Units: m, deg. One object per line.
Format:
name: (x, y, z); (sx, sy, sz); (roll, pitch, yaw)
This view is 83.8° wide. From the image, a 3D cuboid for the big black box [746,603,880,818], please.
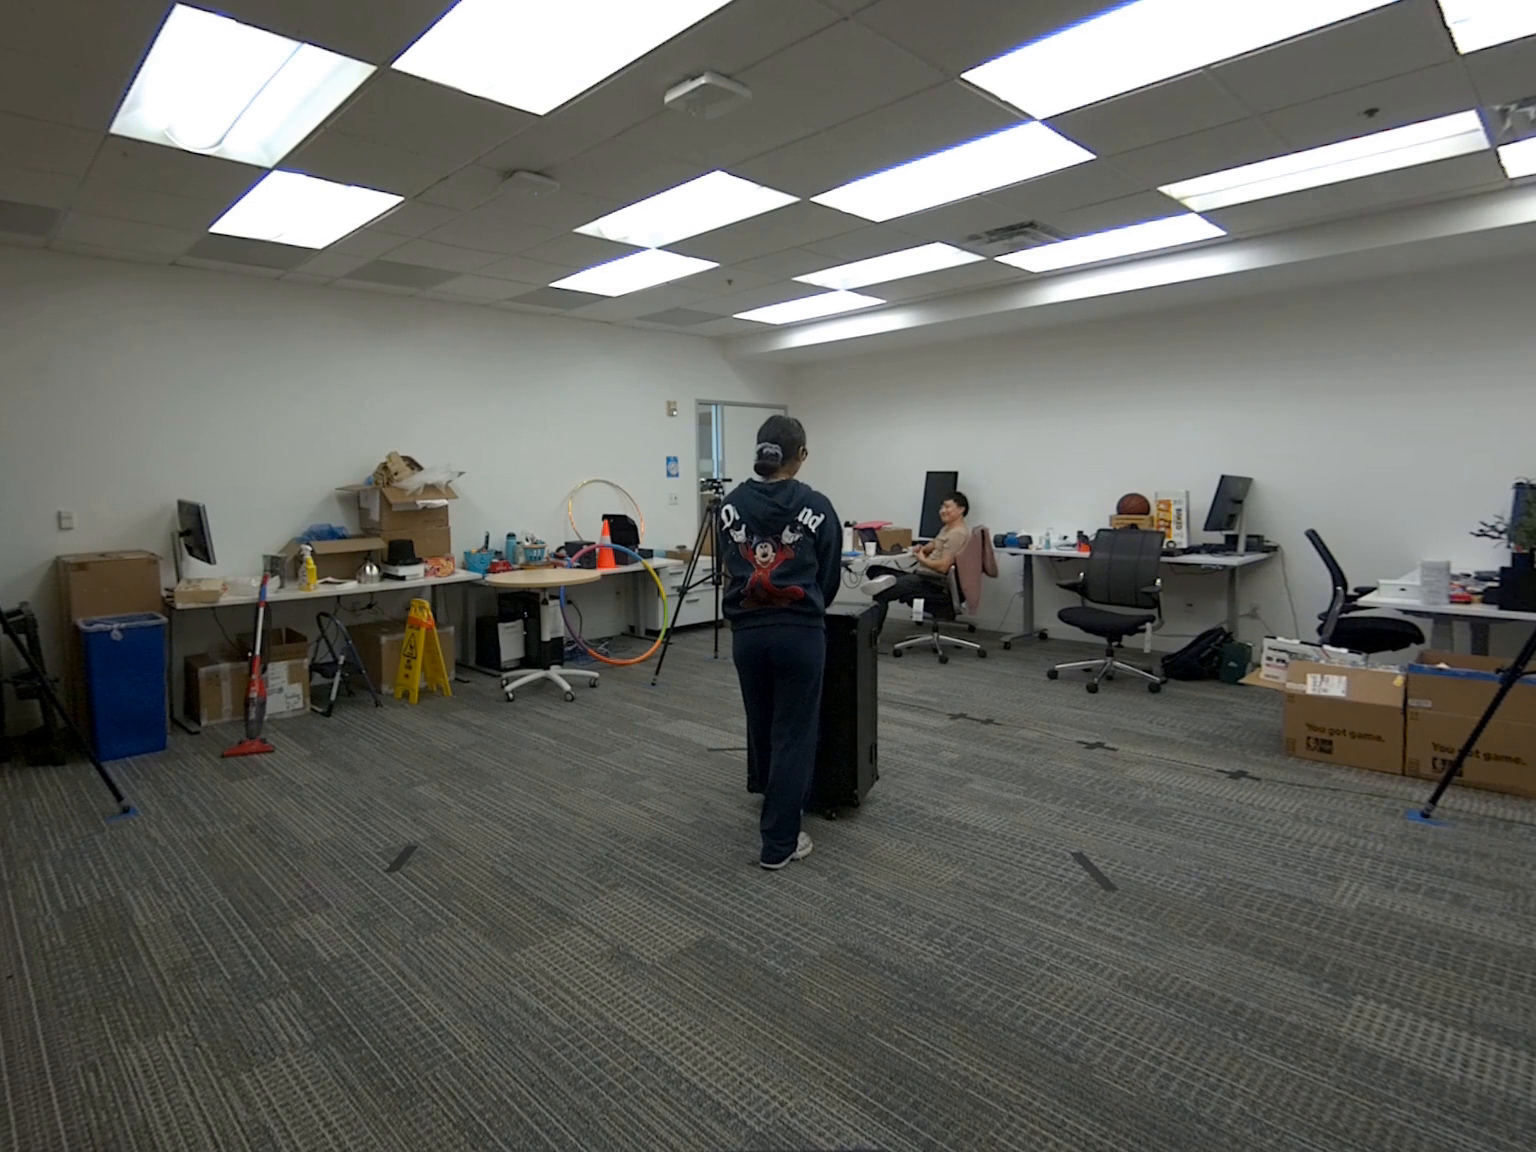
big black box: (0.202, 0.555, 3.650); (0.532, 0.857, 0.390); (2, 6, 21)
